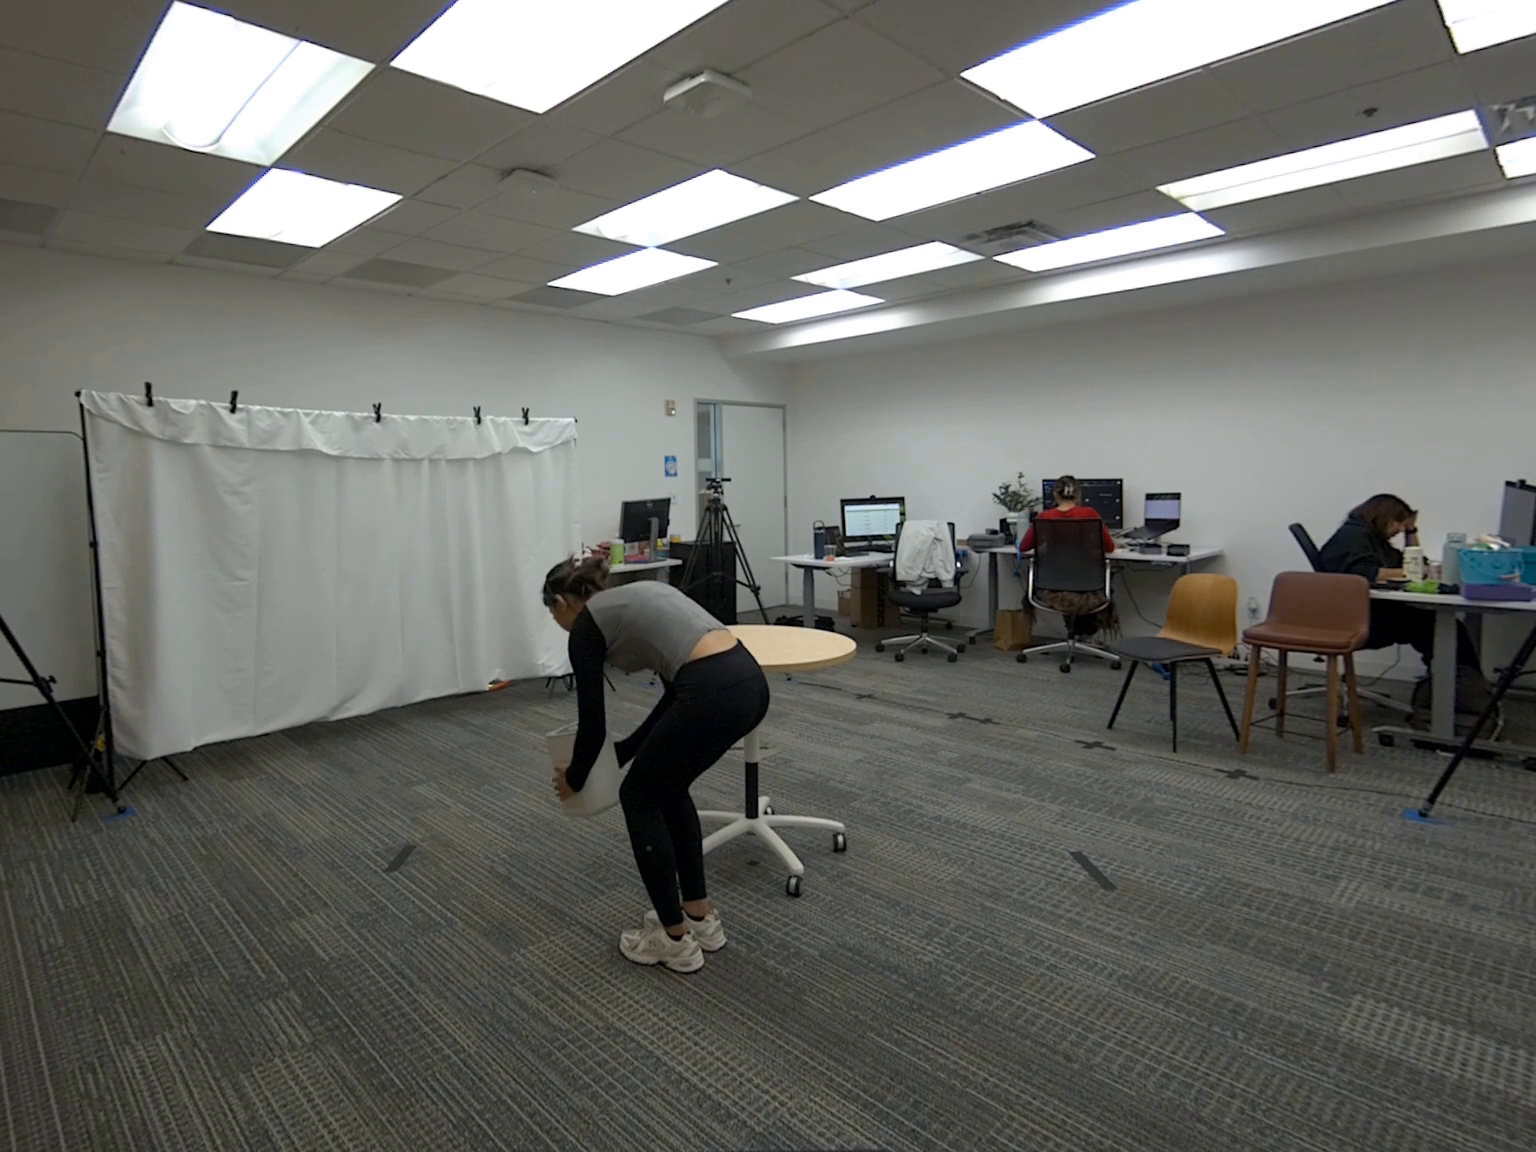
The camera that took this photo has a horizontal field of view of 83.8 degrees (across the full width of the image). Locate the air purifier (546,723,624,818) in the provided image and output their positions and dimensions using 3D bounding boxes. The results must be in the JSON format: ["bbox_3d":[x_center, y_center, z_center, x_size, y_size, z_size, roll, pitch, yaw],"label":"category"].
[{"bbox_3d":[-0.567,0.601,2.685,0.175,0.267,0.167,-15,-5,31],"label":"air purifier"}]
